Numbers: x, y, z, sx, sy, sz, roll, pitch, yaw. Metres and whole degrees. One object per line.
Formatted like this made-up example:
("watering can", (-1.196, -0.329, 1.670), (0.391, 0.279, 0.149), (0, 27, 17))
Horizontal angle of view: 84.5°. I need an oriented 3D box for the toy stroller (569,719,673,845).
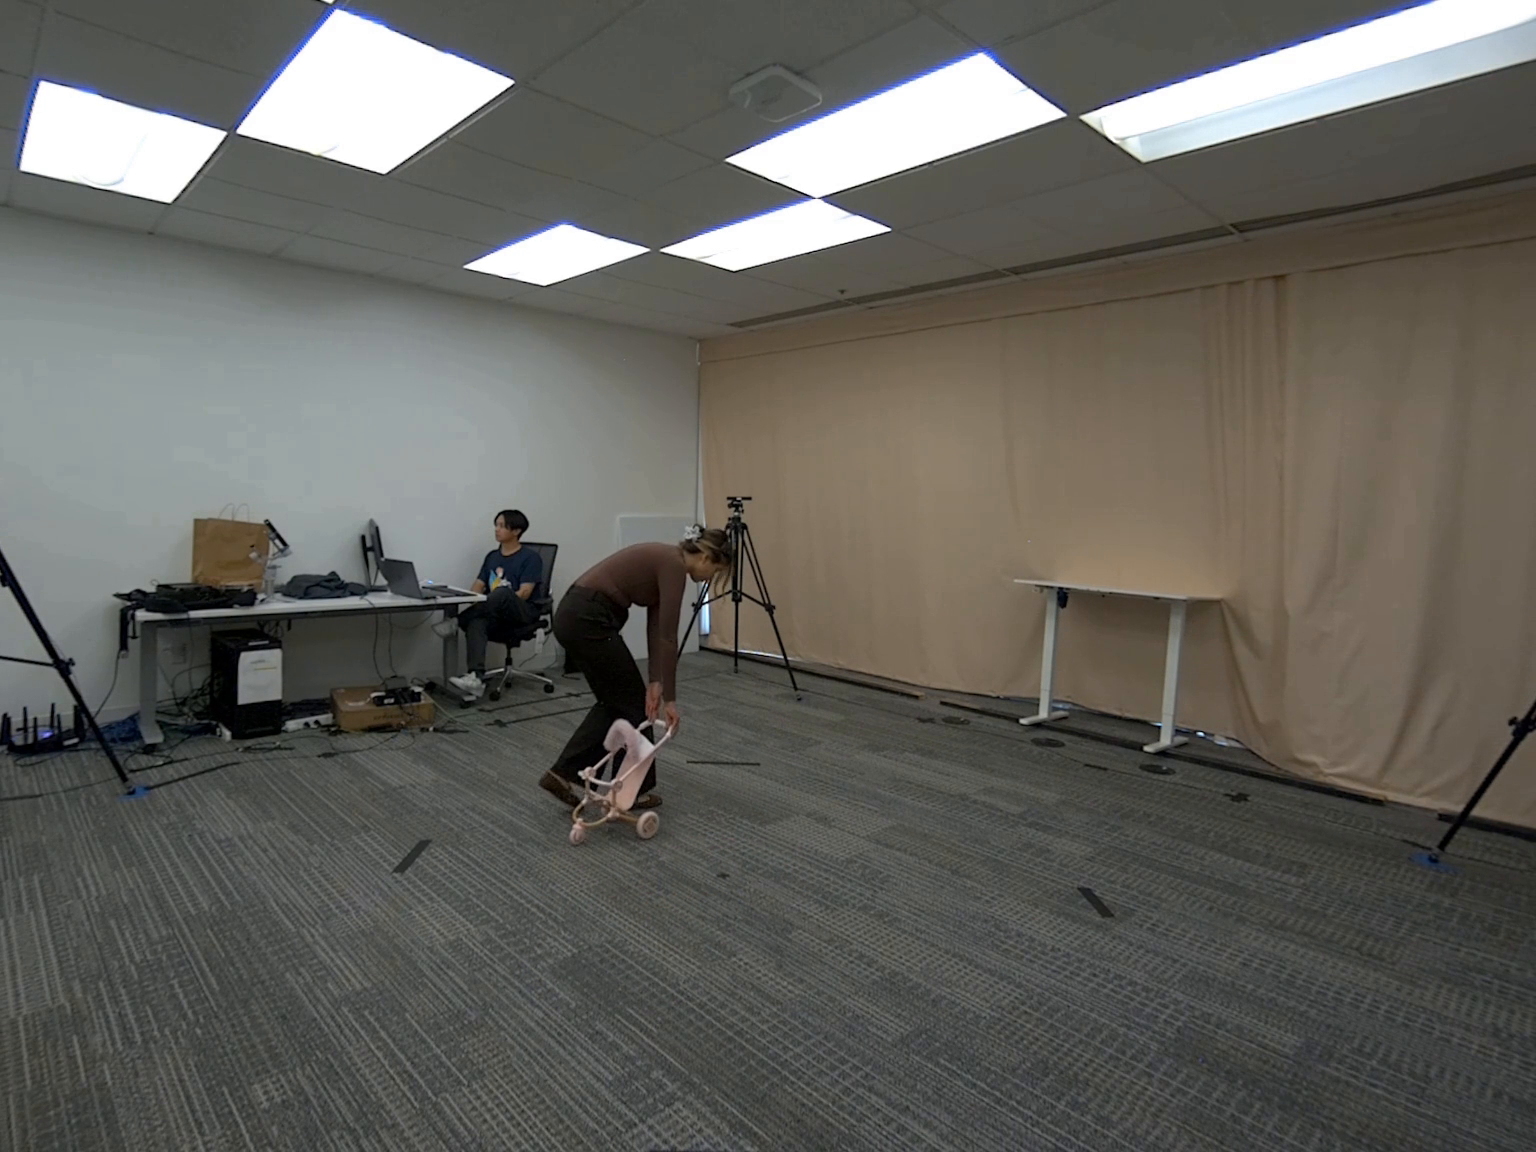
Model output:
("toy stroller", (-0.627, 0.840, 3.467), (0.331, 0.537, 0.288), (20, -10, -39))
